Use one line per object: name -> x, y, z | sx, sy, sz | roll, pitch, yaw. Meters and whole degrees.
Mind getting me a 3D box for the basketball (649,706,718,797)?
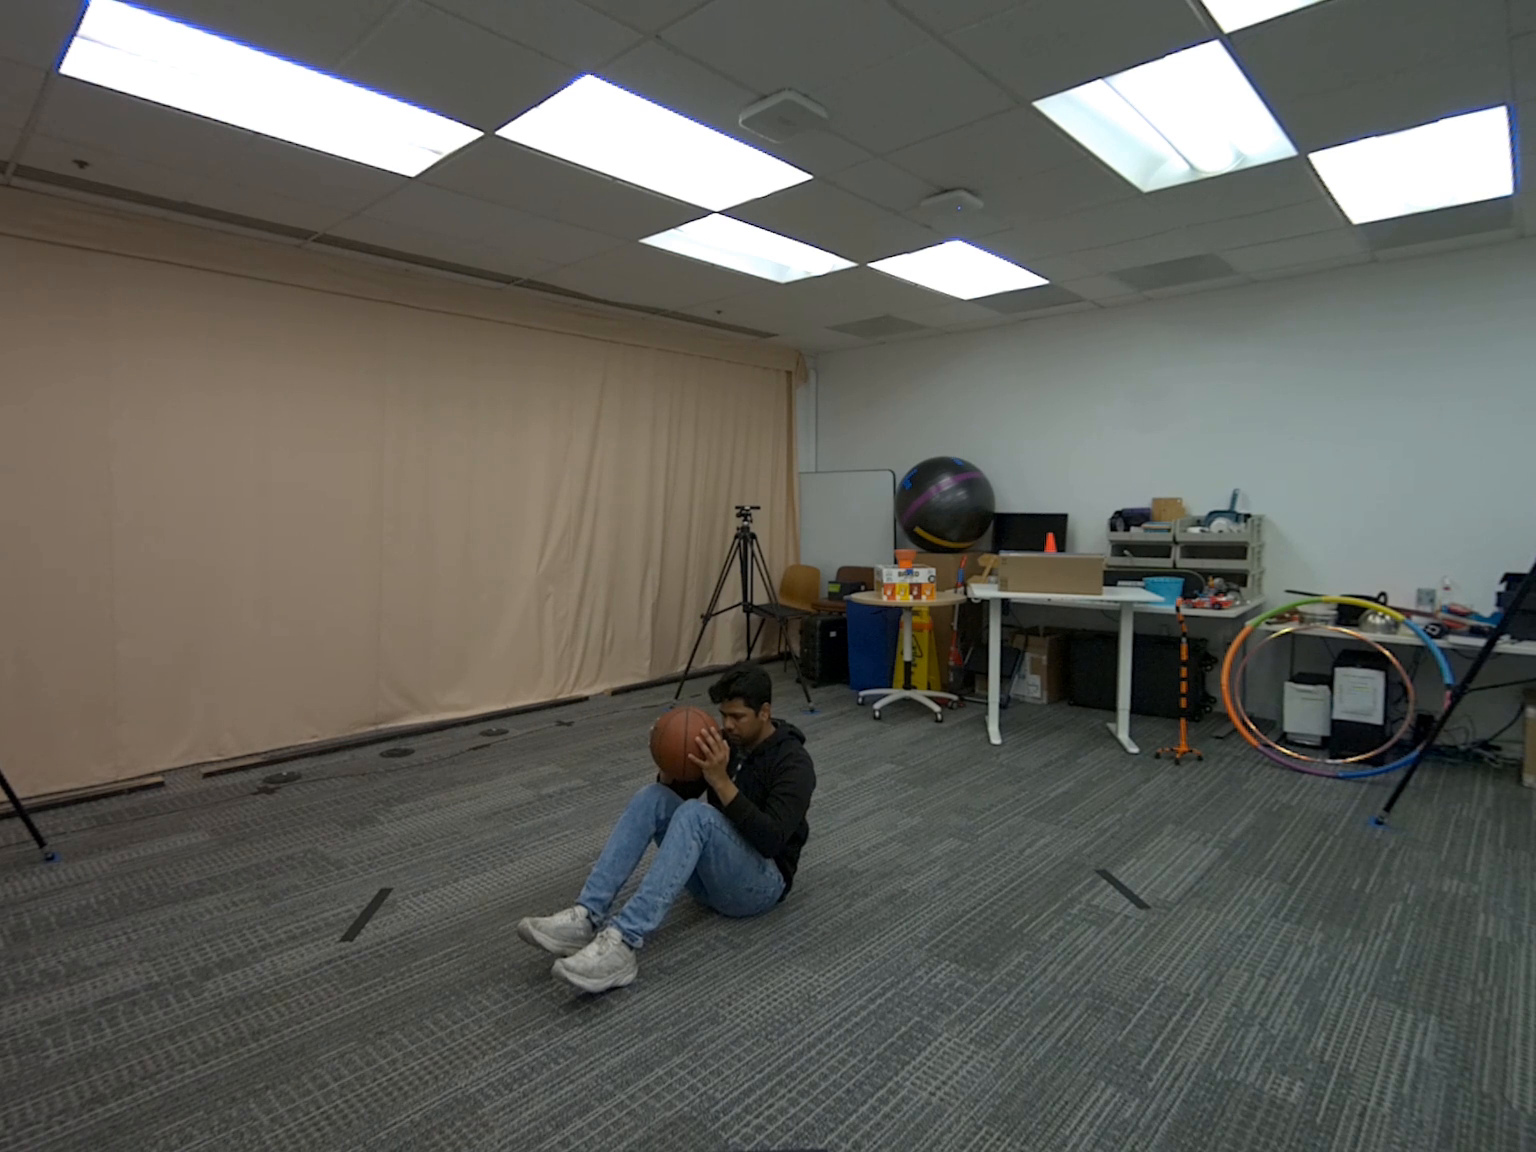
basketball -> -0.256, 0.540, 2.769 | 0.236, 0.235, 0.237 | 0, 4, -2
